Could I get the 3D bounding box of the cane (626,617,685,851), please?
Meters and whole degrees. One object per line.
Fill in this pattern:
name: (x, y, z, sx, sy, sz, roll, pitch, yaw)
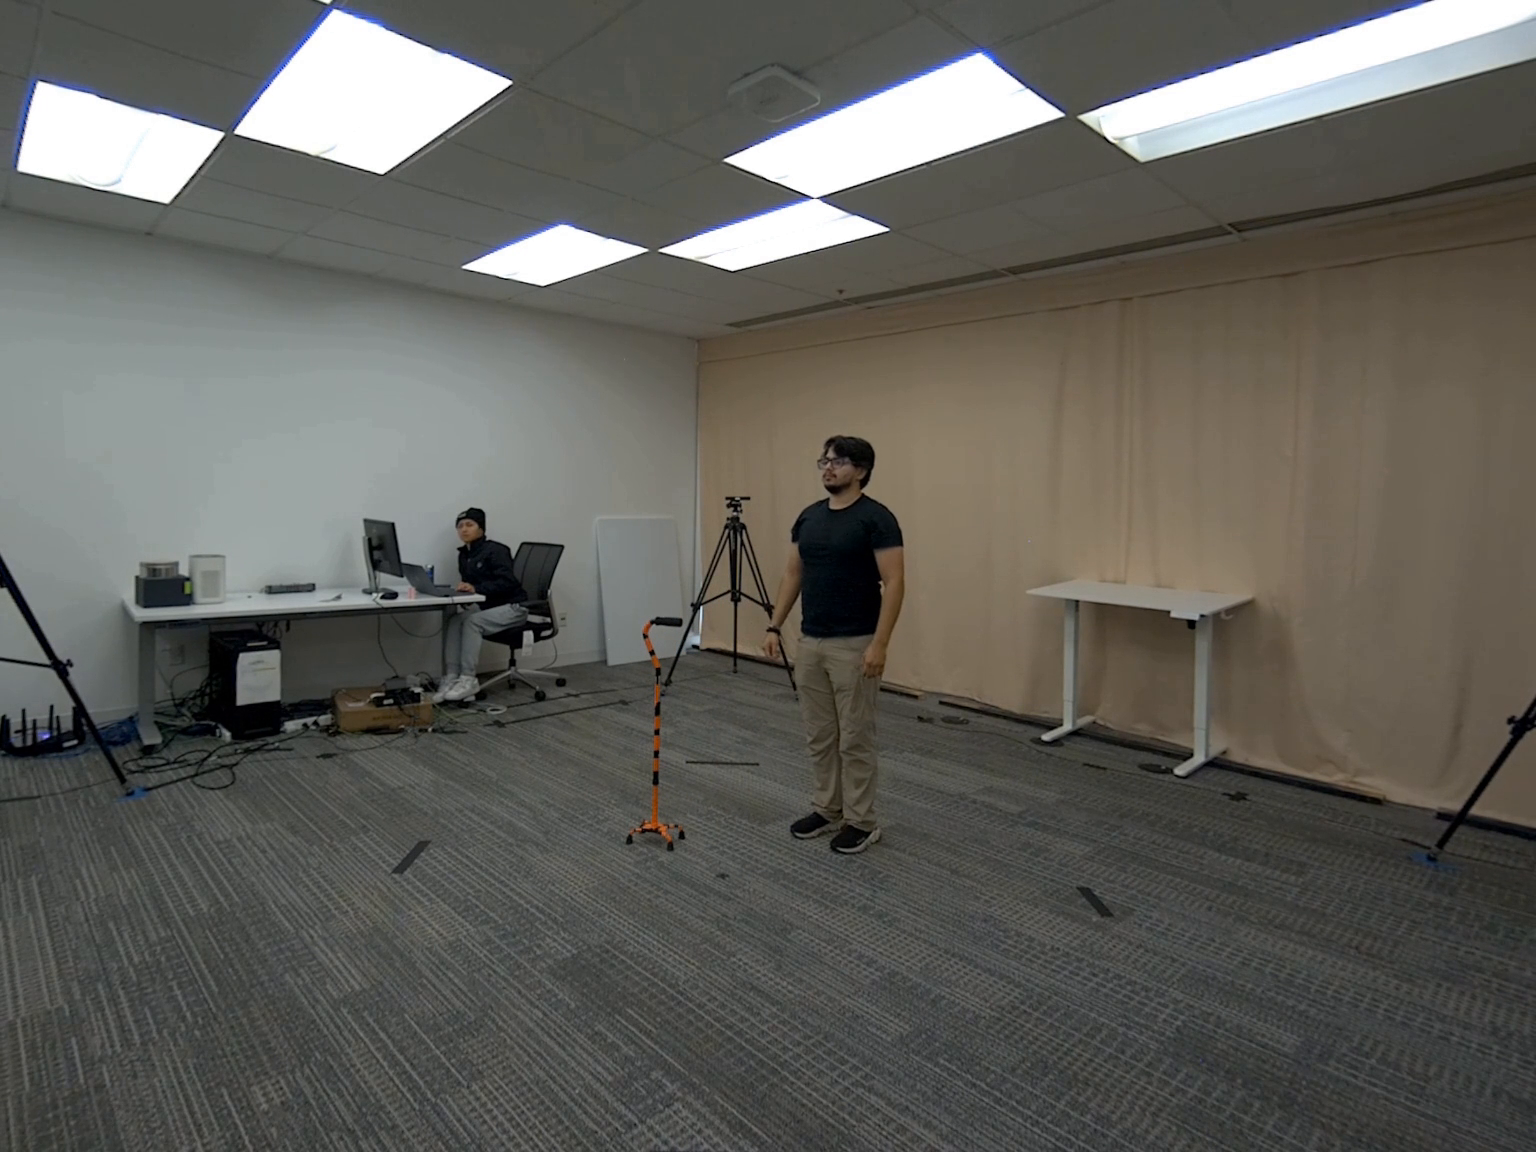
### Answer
cane: (-0.460, 0.623, 3.391, 0.209, 0.906, 0.150, 1, 3, 17)
